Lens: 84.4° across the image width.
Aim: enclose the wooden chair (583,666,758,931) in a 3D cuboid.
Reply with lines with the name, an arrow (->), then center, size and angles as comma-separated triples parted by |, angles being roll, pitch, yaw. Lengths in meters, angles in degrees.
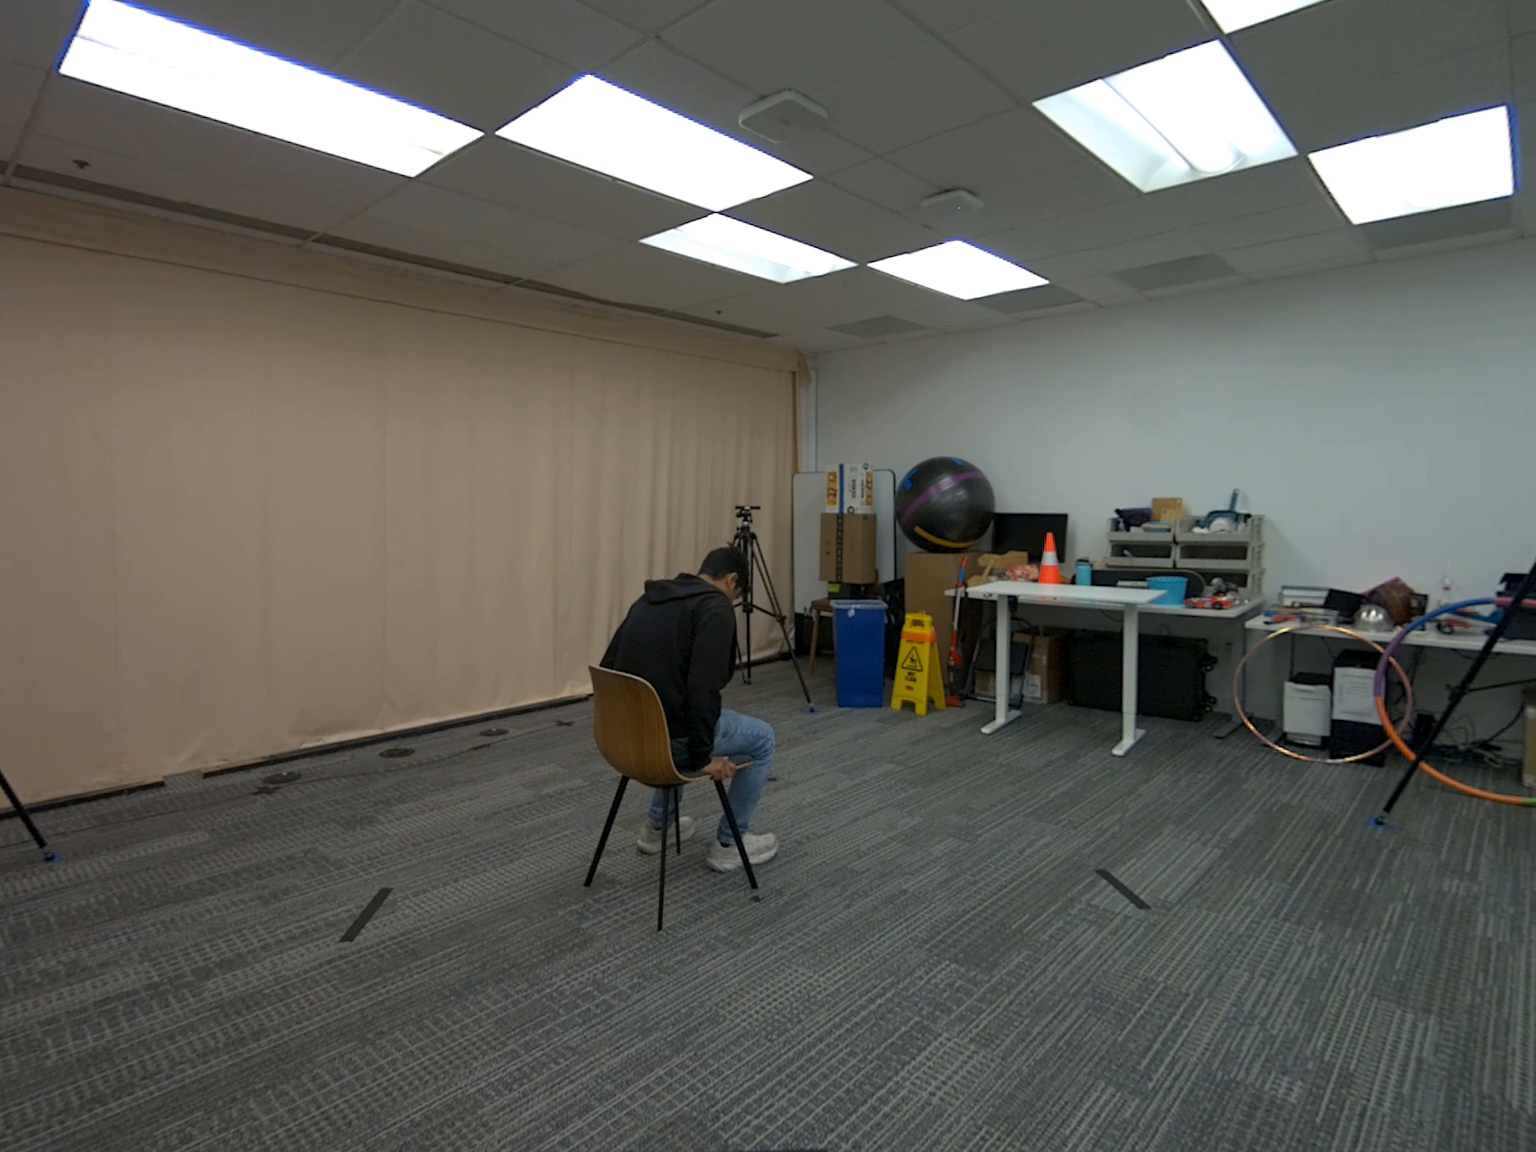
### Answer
wooden chair -> -0.346, 0.714, 3.052 | 0.508, 0.874, 0.494 | -8, 7, -43
